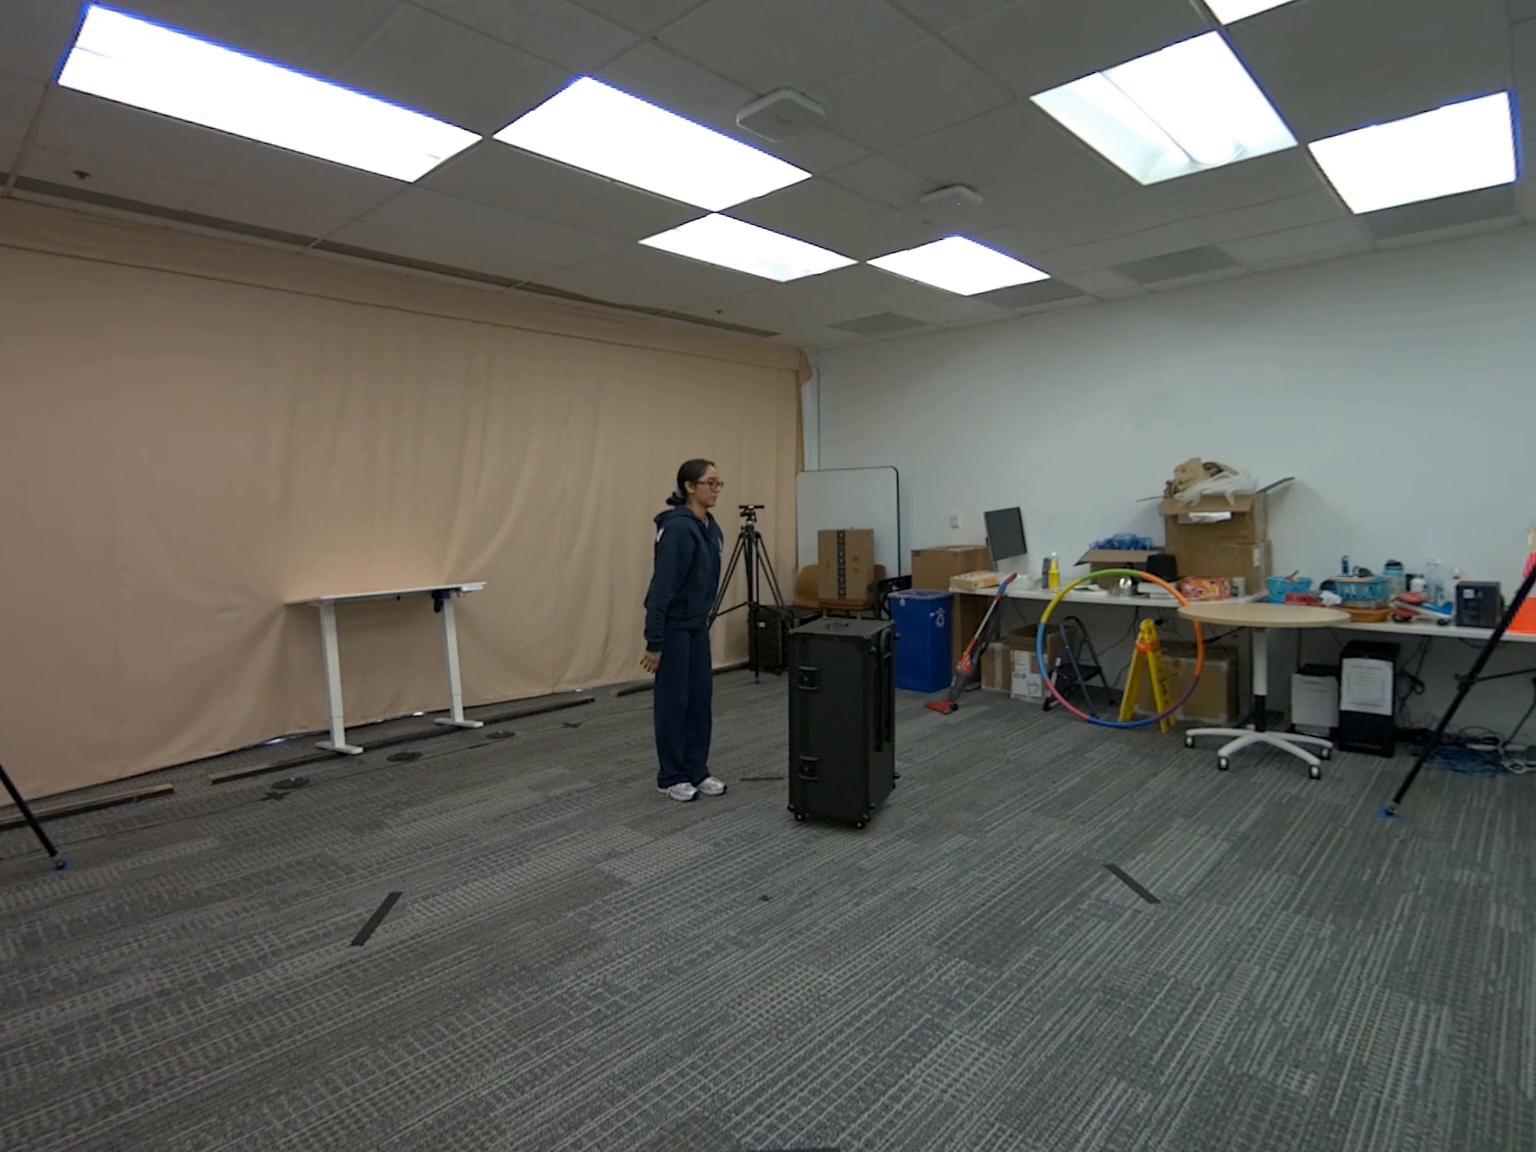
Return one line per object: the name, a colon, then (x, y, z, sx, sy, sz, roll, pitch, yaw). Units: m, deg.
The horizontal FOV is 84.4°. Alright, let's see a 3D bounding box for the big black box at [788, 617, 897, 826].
big black box: (0.355, 0.645, 3.754, 0.406, 0.859, 0.509, 3, 4, 24)
